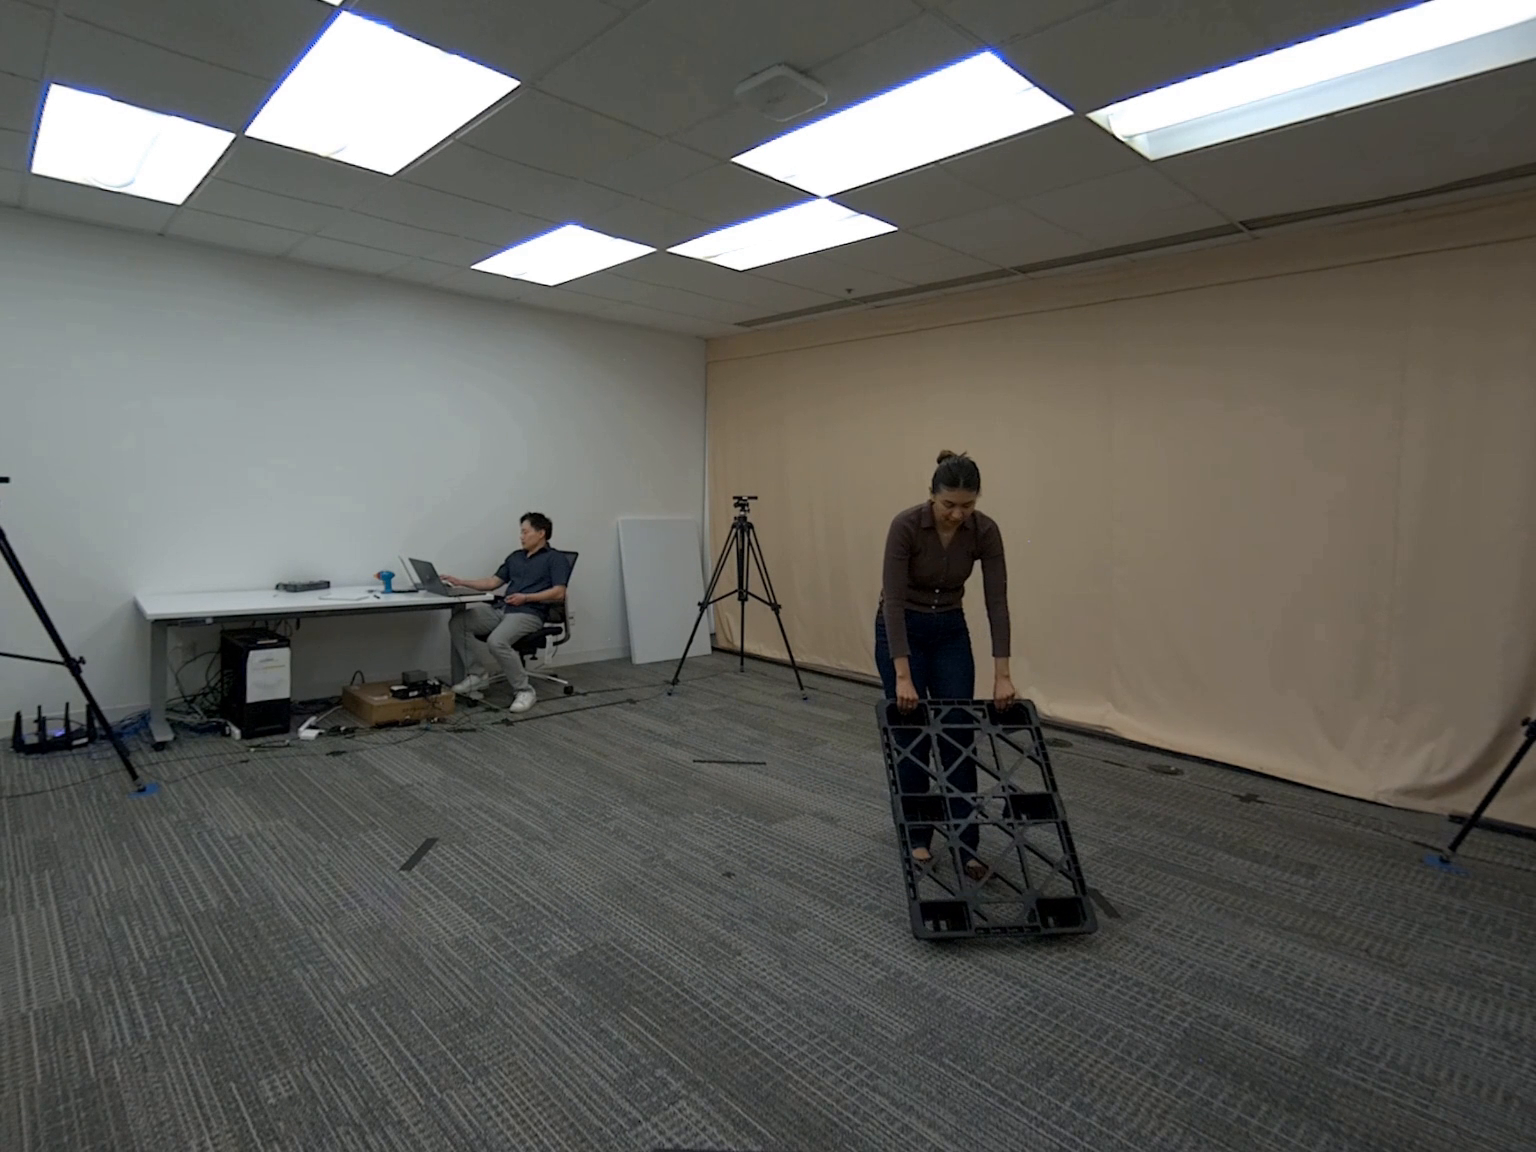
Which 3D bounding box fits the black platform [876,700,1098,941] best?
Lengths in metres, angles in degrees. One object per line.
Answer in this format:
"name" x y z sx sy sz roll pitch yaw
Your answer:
"black platform" 0.717 0.819 2.896 0.602 0.823 0.141 1 -35 -7
